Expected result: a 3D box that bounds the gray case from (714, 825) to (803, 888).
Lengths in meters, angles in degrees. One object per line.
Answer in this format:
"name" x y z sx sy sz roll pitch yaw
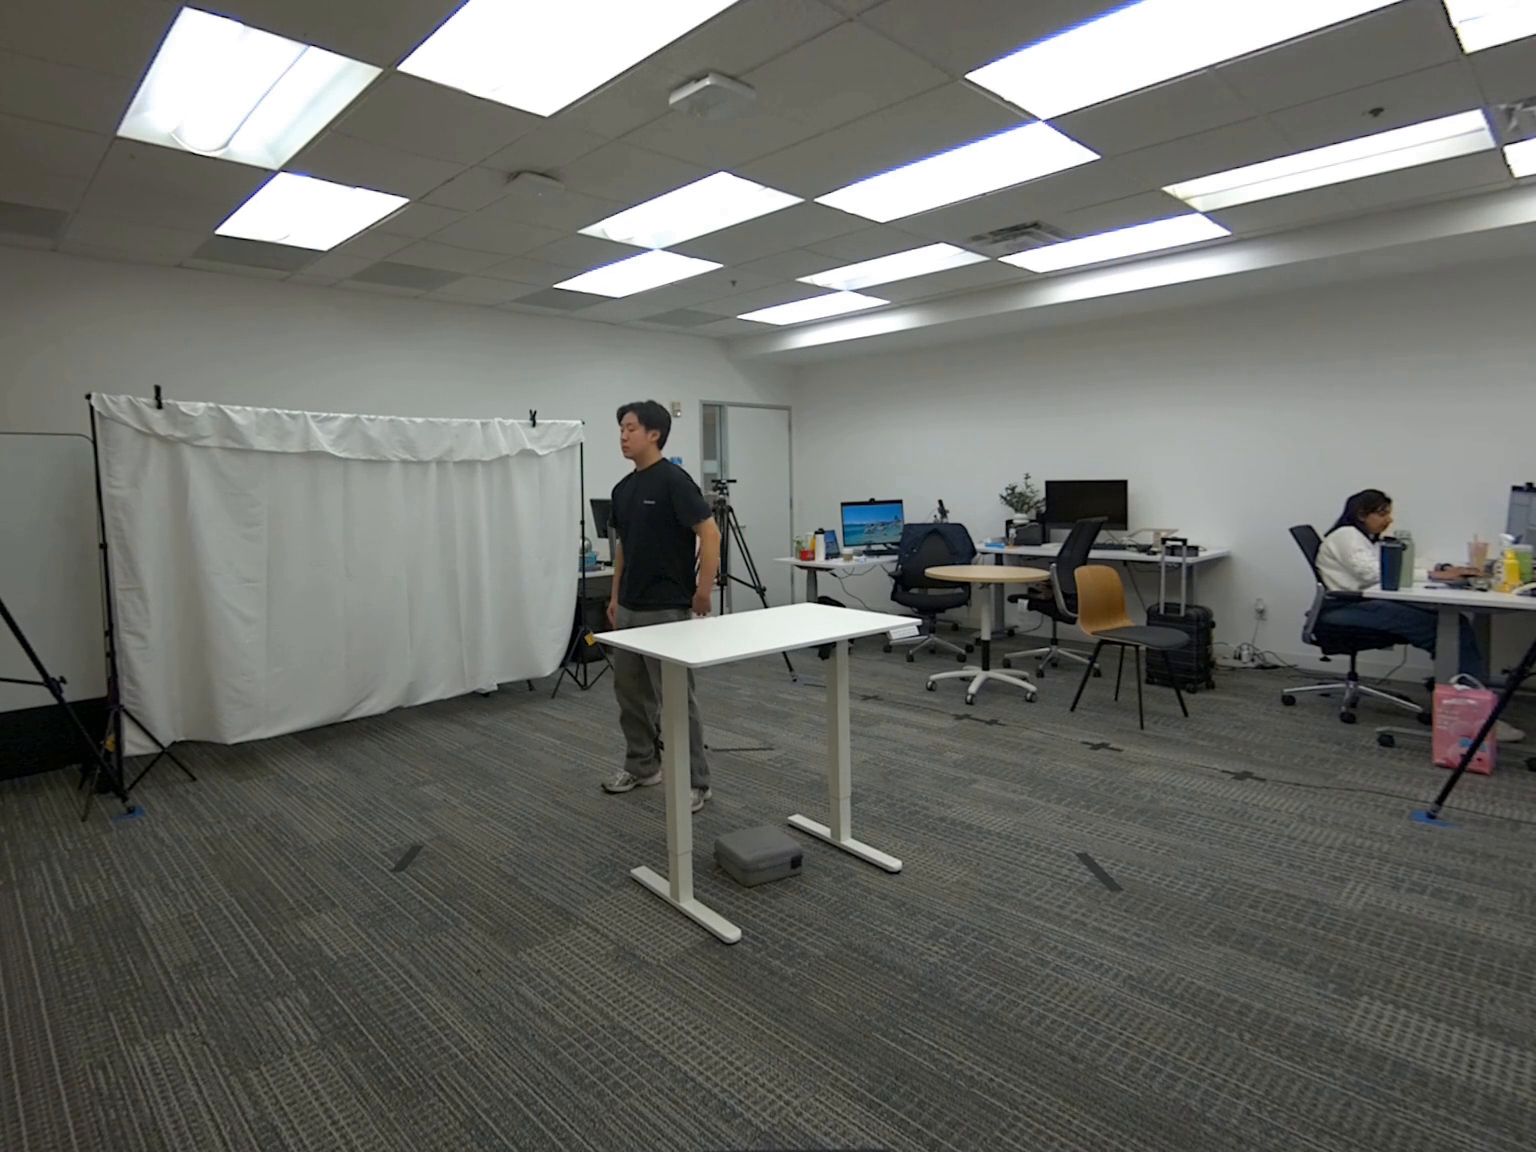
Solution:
"gray case" -0.027 0.994 3.063 0.257 0.102 0.295 -4 6 -28
